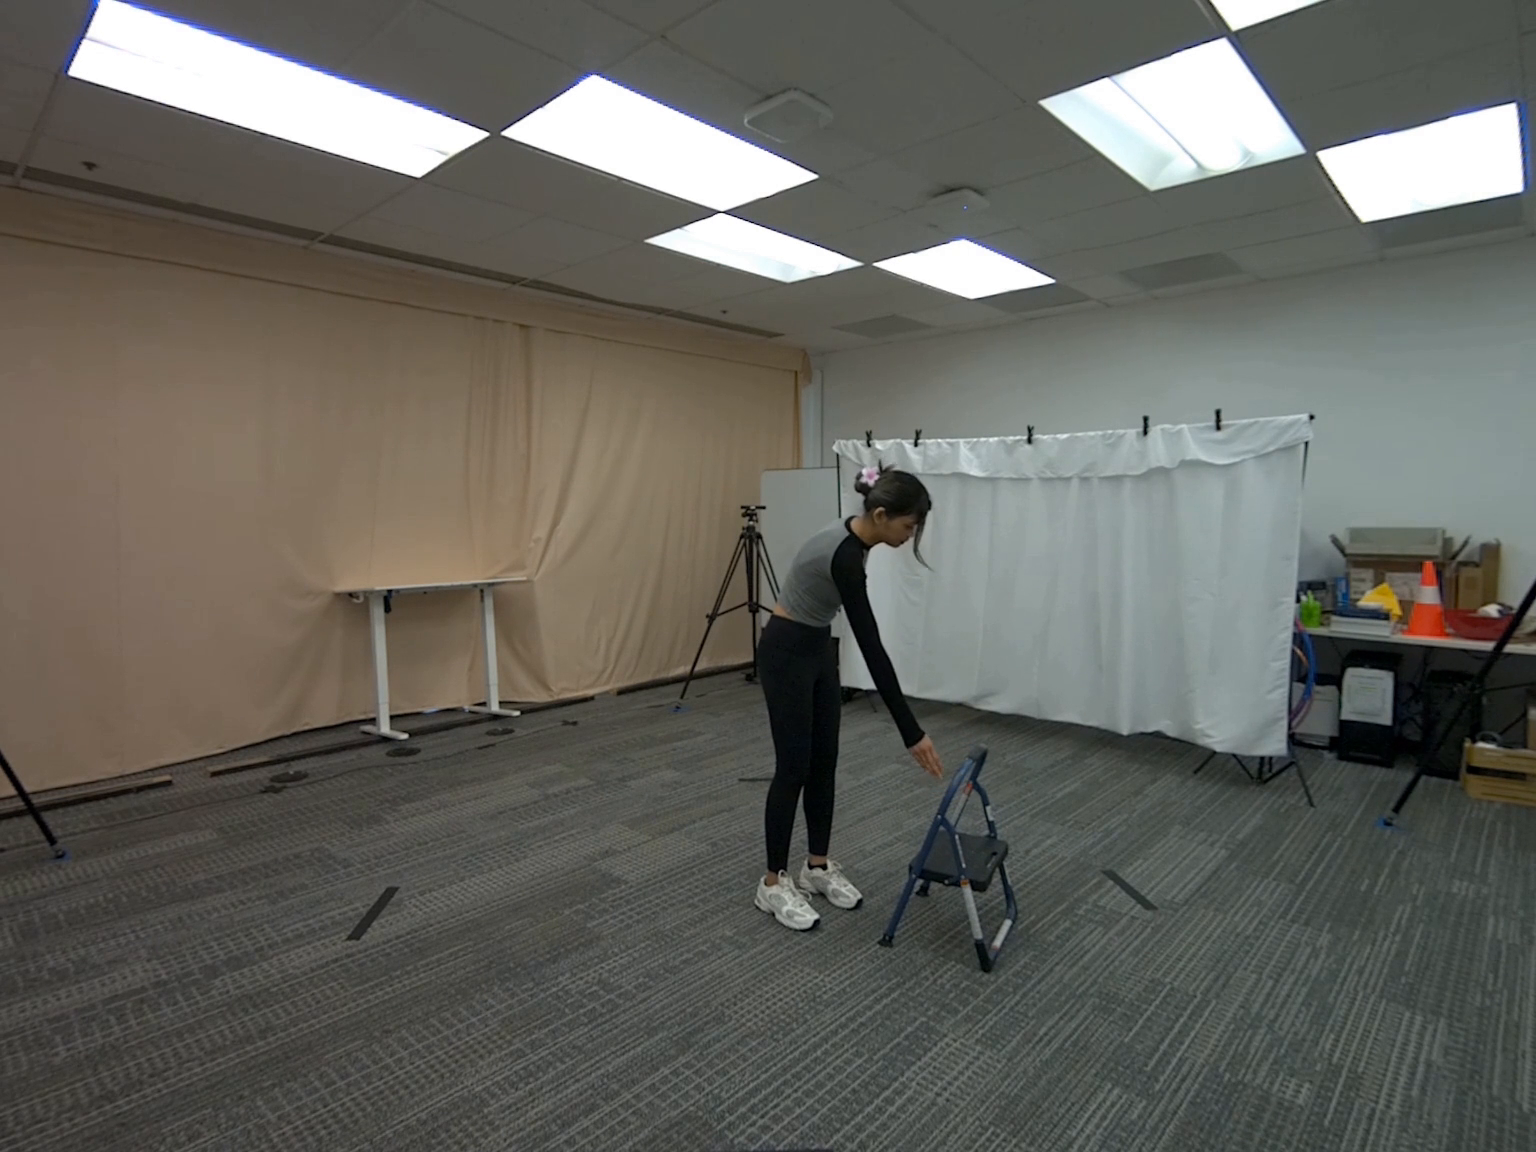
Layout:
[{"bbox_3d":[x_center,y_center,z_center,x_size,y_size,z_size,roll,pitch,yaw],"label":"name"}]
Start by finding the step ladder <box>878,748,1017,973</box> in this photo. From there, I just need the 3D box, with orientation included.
[{"bbox_3d":[0.605,0.860,2.742,0.359,0.604,0.420,2,4,28],"label":"step ladder"}]
